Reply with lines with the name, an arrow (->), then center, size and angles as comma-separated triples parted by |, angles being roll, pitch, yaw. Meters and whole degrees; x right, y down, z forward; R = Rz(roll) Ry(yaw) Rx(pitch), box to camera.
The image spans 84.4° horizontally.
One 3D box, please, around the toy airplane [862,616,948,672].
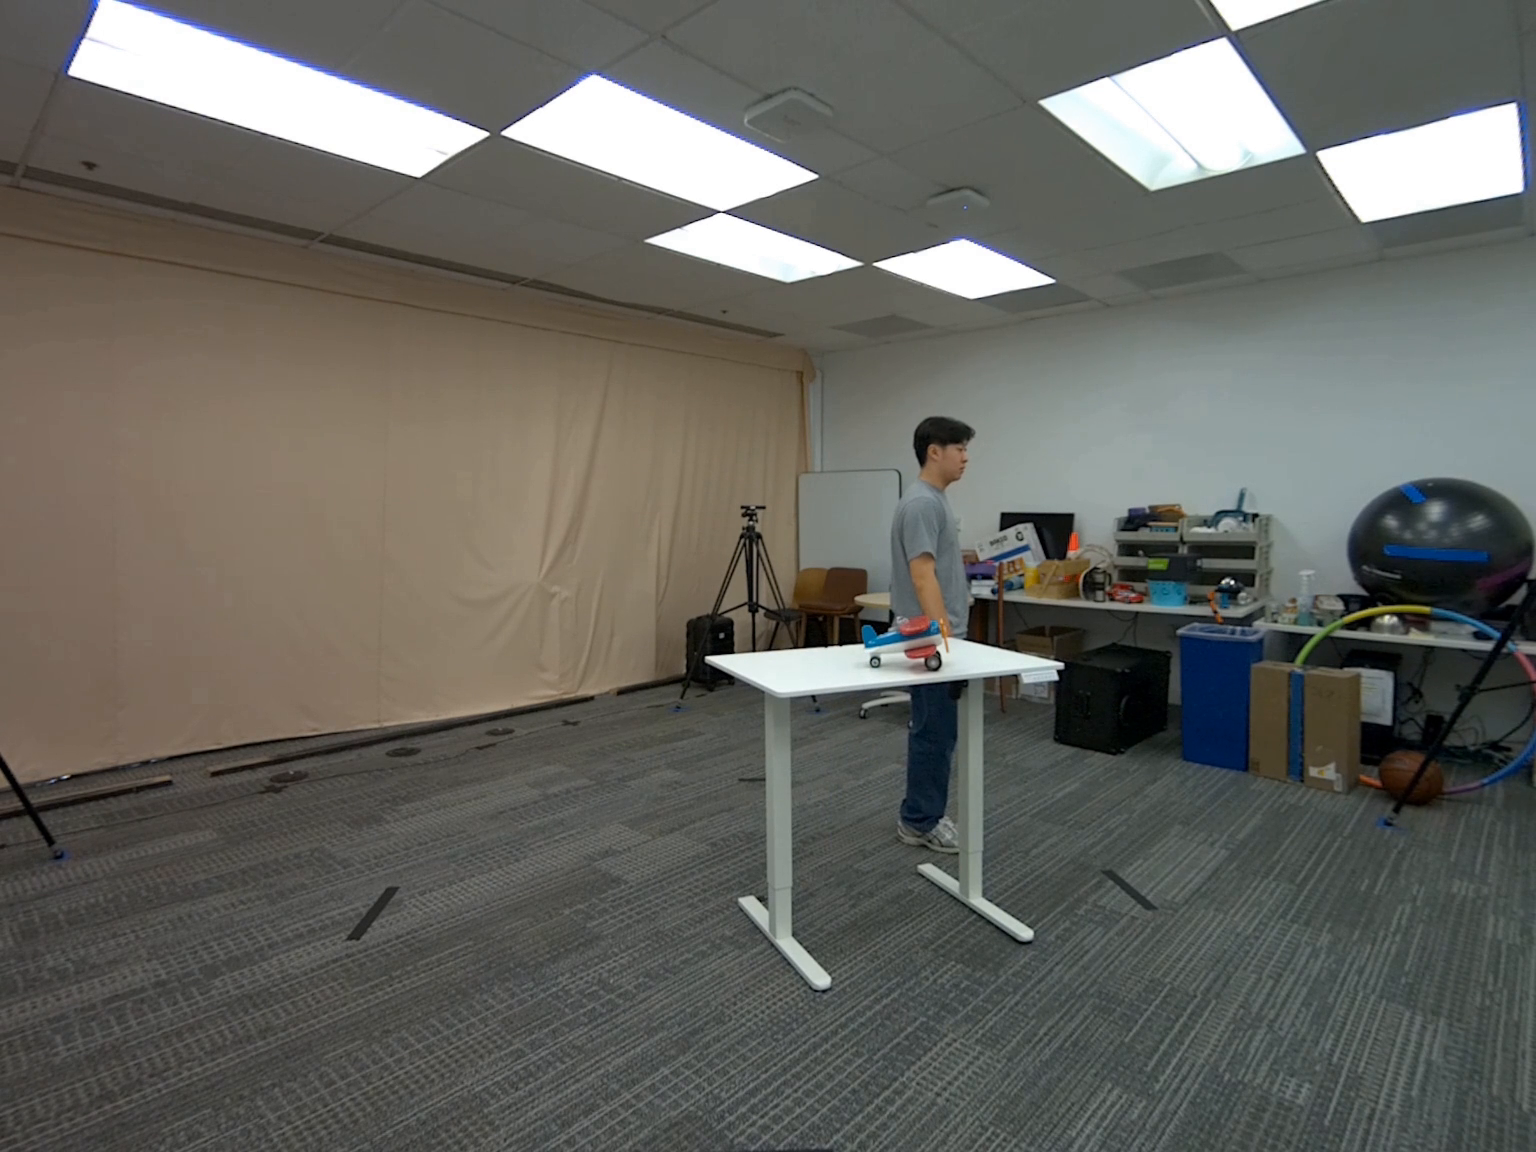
toy airplane -> 0.437, 0.212, 2.617 | 0.255, 0.156, 0.256 | 0, 3, -16
